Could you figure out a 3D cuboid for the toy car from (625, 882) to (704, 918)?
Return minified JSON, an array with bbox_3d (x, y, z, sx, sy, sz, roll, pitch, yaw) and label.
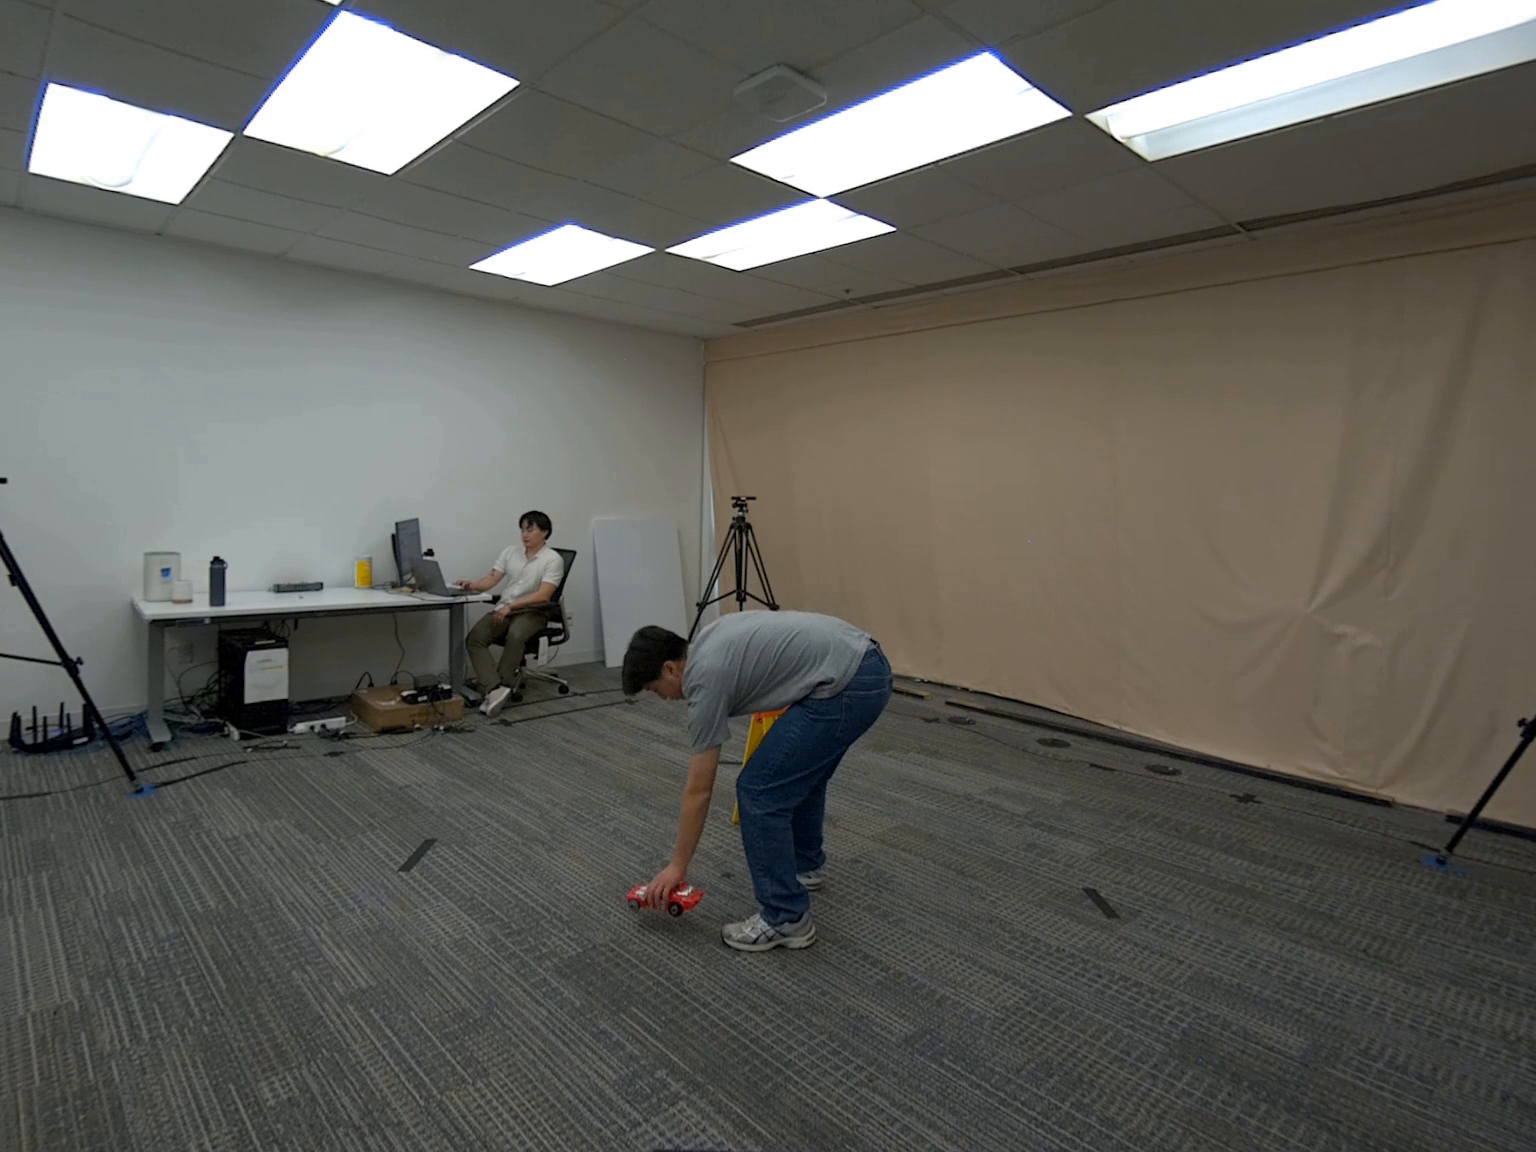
[{"bbox_3d":[-0.327,1.036,2.721,0.257,0.083,0.128,-13,-3,19],"label":"toy car"}]
